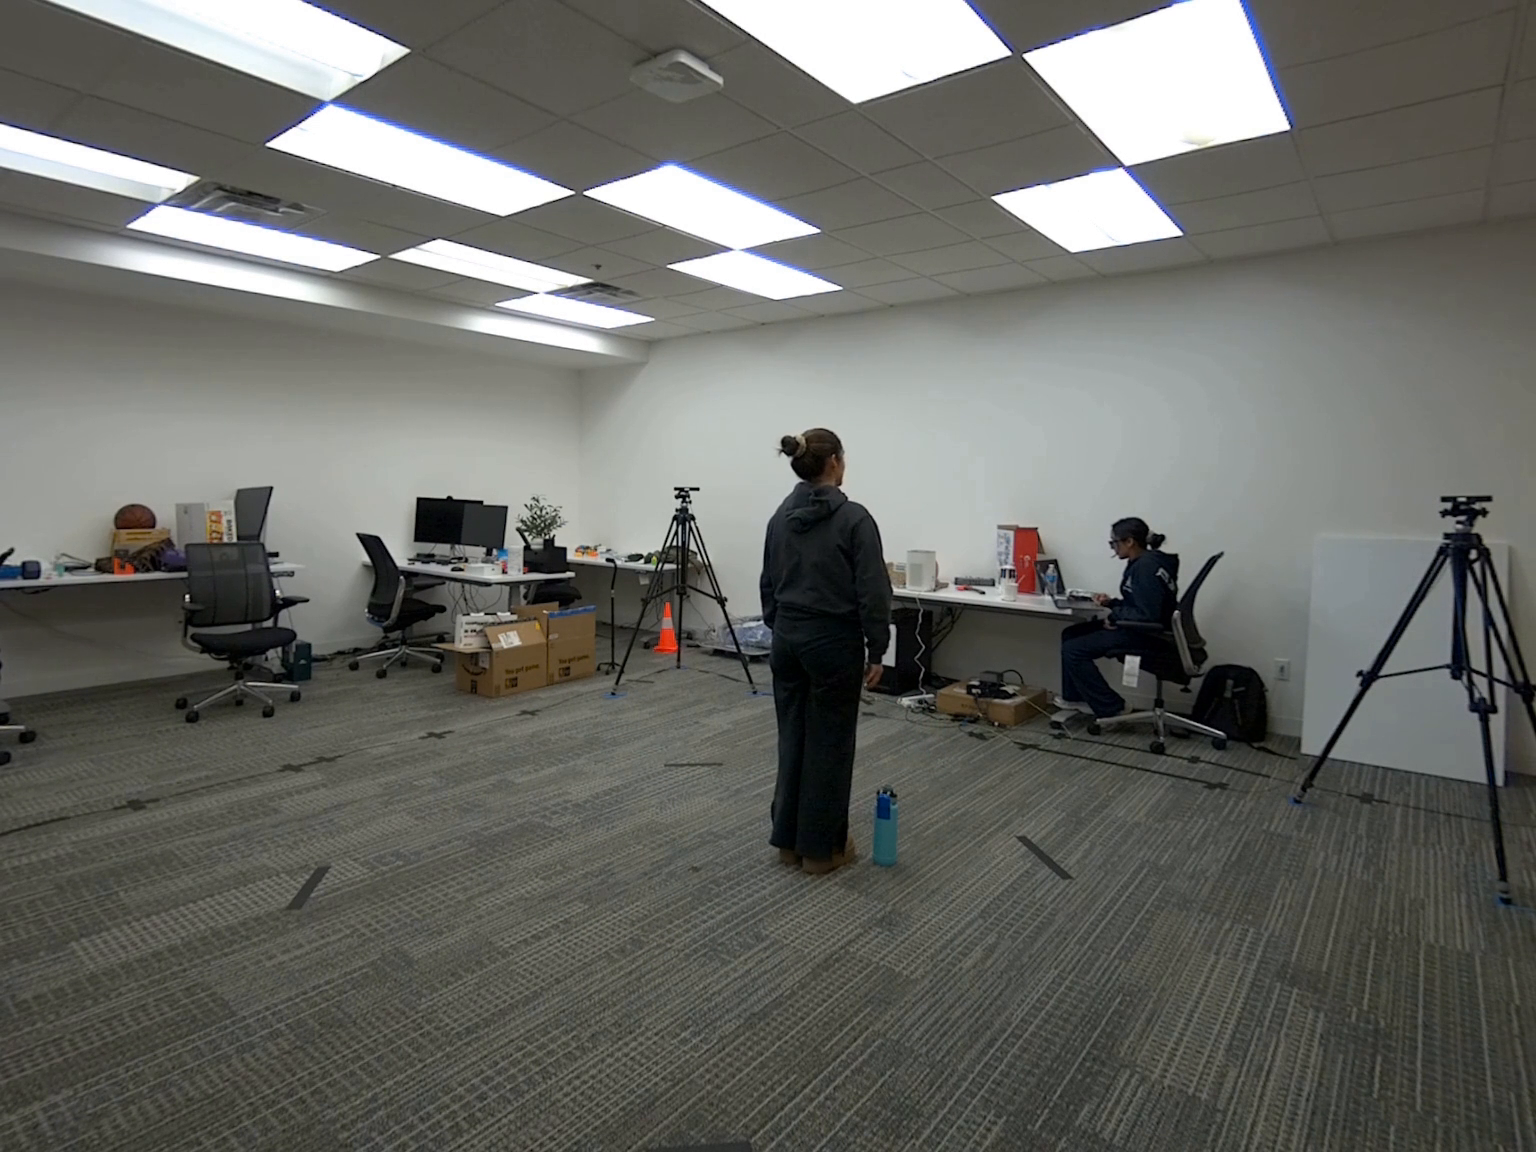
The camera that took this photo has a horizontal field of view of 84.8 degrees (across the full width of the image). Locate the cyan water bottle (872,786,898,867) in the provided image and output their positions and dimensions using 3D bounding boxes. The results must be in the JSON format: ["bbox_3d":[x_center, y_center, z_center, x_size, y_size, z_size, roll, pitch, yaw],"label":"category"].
[{"bbox_3d":[0.445,0.926,3.199,0.092,0.282,0.093,1,5,-2],"label":"cyan water bottle"}]
